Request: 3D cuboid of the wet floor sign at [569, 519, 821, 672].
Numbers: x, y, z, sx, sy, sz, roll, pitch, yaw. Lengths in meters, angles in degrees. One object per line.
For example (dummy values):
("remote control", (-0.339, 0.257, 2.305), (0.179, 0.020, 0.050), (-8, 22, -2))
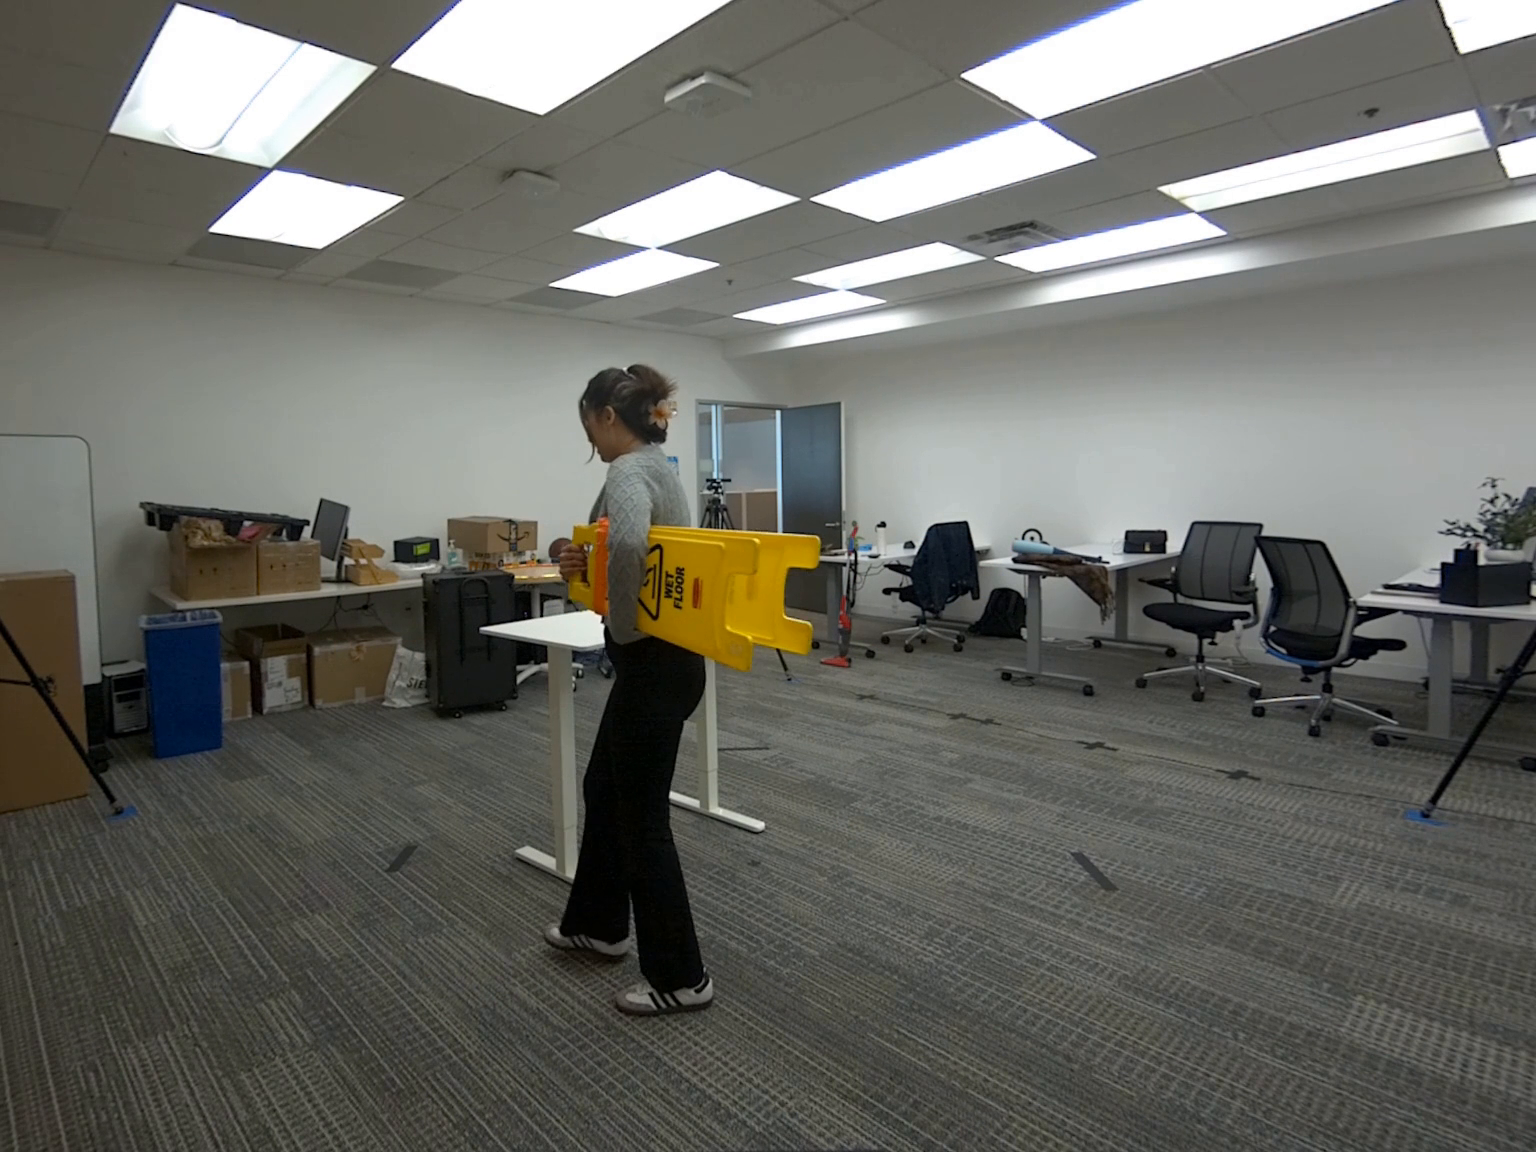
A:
("wet floor sign", (-0.229, 0.016, 2.044), (0.665, 0.280, 0.283), (10, 9, 30))
